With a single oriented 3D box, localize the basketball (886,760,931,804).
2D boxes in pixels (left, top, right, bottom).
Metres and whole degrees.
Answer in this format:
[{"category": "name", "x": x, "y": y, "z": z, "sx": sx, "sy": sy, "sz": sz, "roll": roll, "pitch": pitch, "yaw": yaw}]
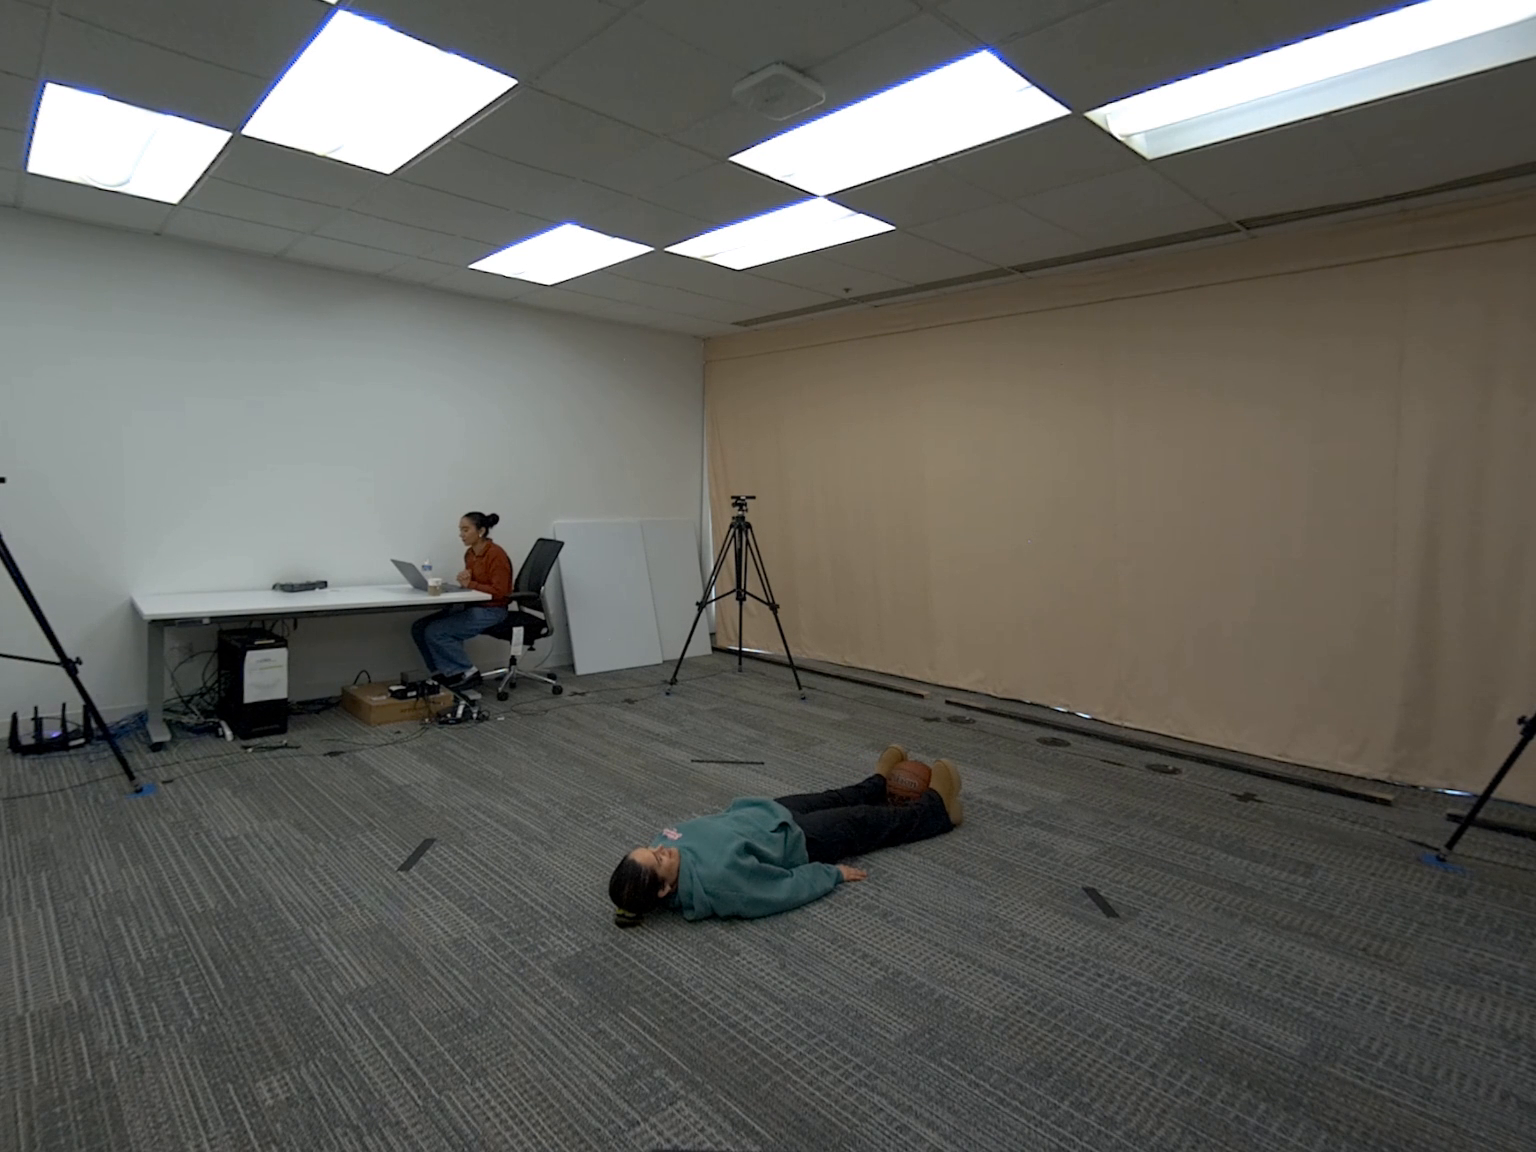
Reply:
[{"category": "basketball", "x": 0.639, "y": 0.948, "z": 3.771, "sx": 0.236, "sy": 0.235, "sz": 0.237, "roll": 1, "pitch": 5, "yaw": -1}]
